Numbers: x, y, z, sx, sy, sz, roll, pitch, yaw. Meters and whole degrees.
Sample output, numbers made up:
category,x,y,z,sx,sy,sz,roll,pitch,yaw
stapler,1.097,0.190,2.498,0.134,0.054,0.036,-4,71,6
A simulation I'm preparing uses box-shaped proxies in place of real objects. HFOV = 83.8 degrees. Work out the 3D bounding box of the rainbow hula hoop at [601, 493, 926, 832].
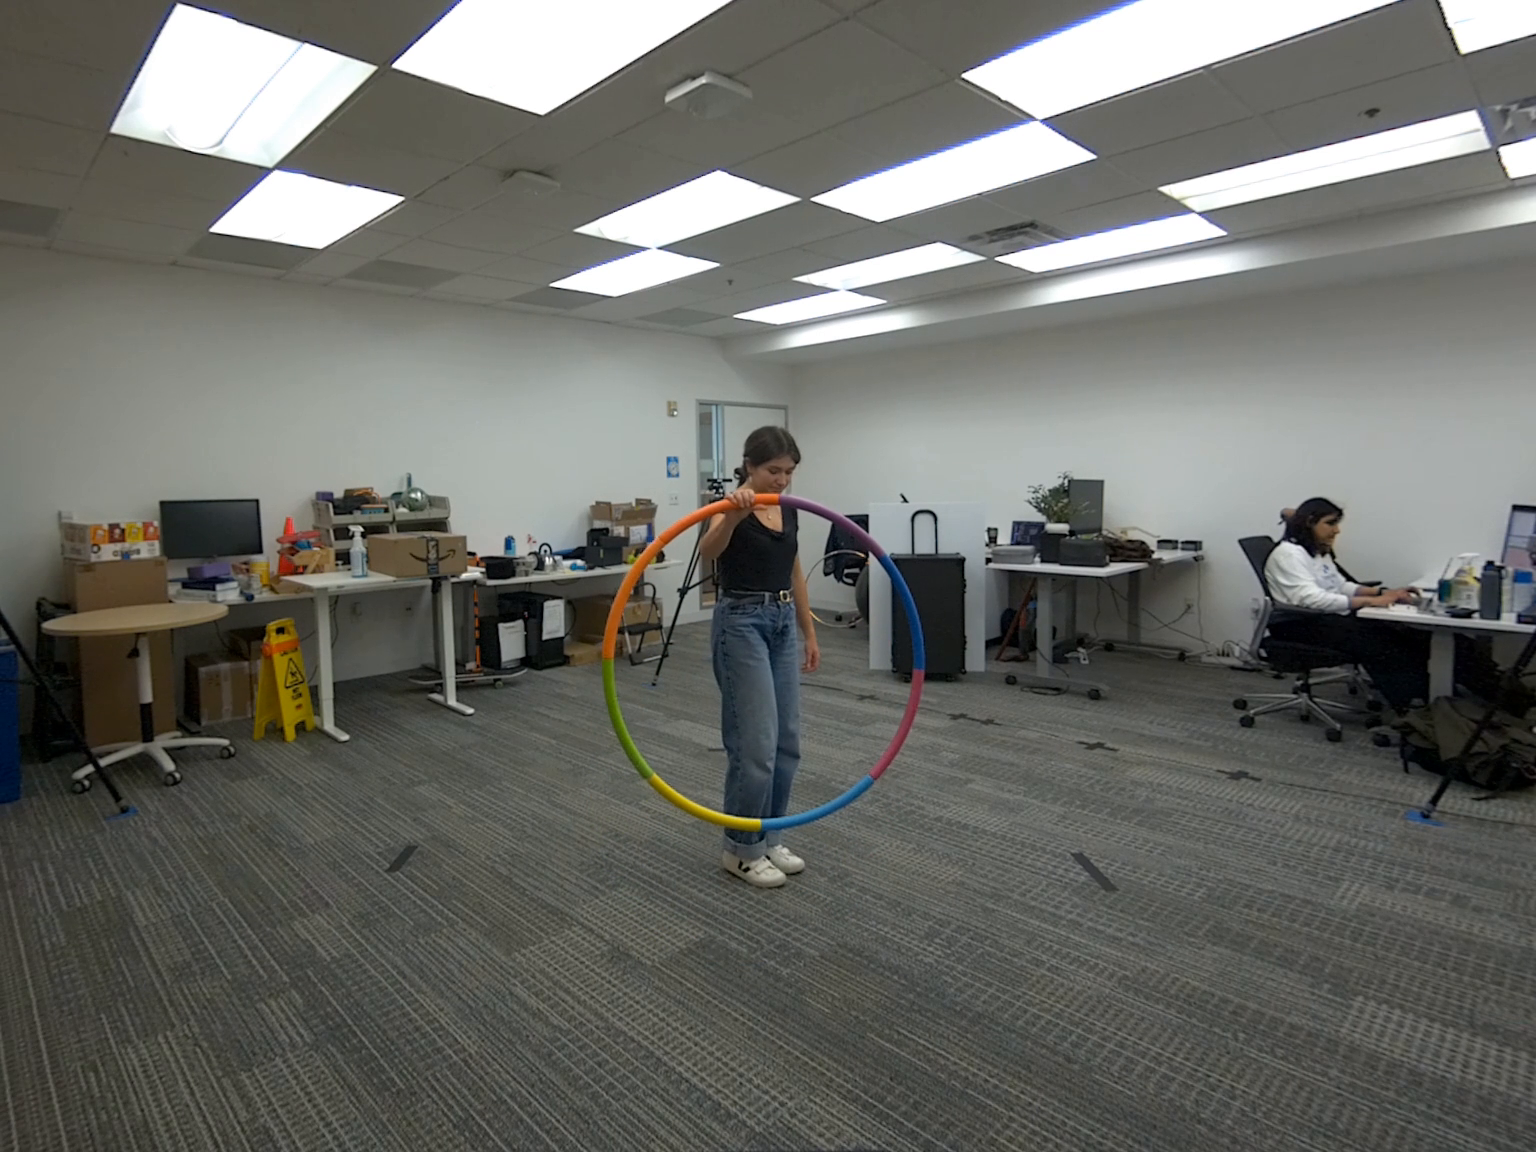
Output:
category,x,y,z,sx,sy,sz,roll,pitch,yaw
rainbow hula hoop,0.005,0.253,2.533,0.969,0.977,0.036,-2,1,-10
